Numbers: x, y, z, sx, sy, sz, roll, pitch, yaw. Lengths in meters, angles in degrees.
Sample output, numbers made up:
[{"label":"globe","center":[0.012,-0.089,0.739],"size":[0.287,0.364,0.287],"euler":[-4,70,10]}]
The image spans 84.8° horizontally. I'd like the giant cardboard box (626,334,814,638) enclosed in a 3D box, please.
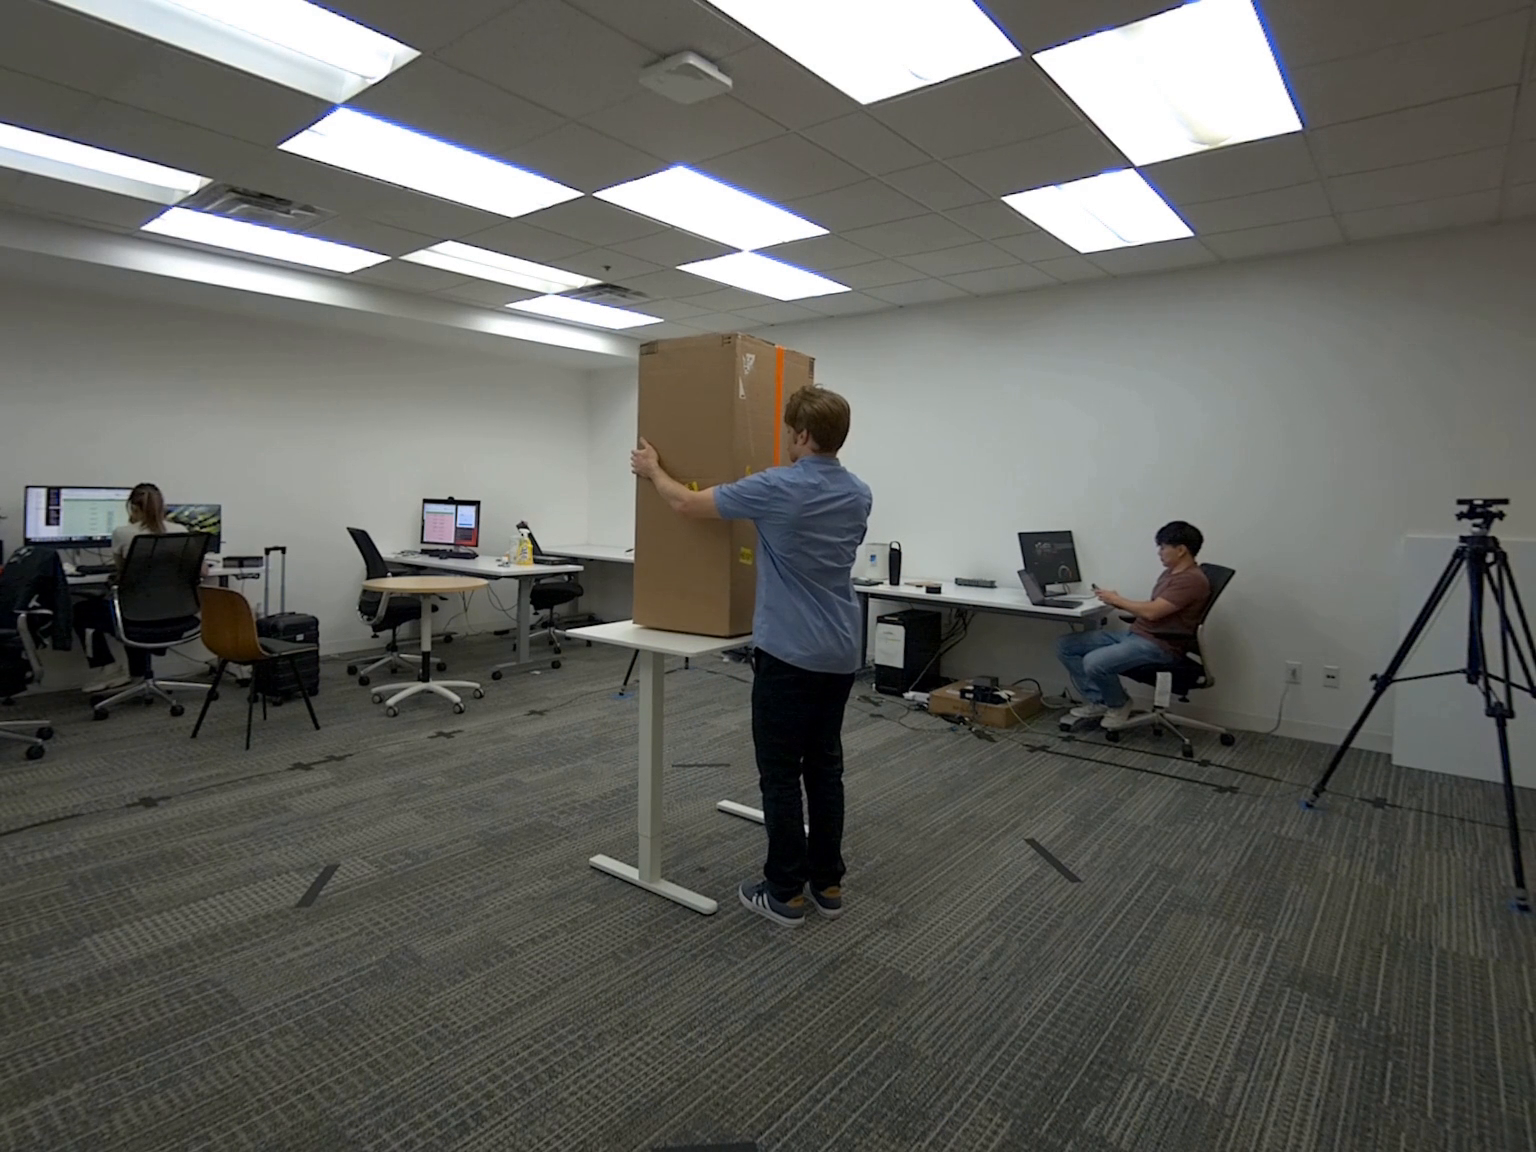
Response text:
[{"label":"giant cardboard box","center":[-0.162,-0.336,3.189],"size":[0.439,1.024,0.561],"euler":[3,3,32]}]
